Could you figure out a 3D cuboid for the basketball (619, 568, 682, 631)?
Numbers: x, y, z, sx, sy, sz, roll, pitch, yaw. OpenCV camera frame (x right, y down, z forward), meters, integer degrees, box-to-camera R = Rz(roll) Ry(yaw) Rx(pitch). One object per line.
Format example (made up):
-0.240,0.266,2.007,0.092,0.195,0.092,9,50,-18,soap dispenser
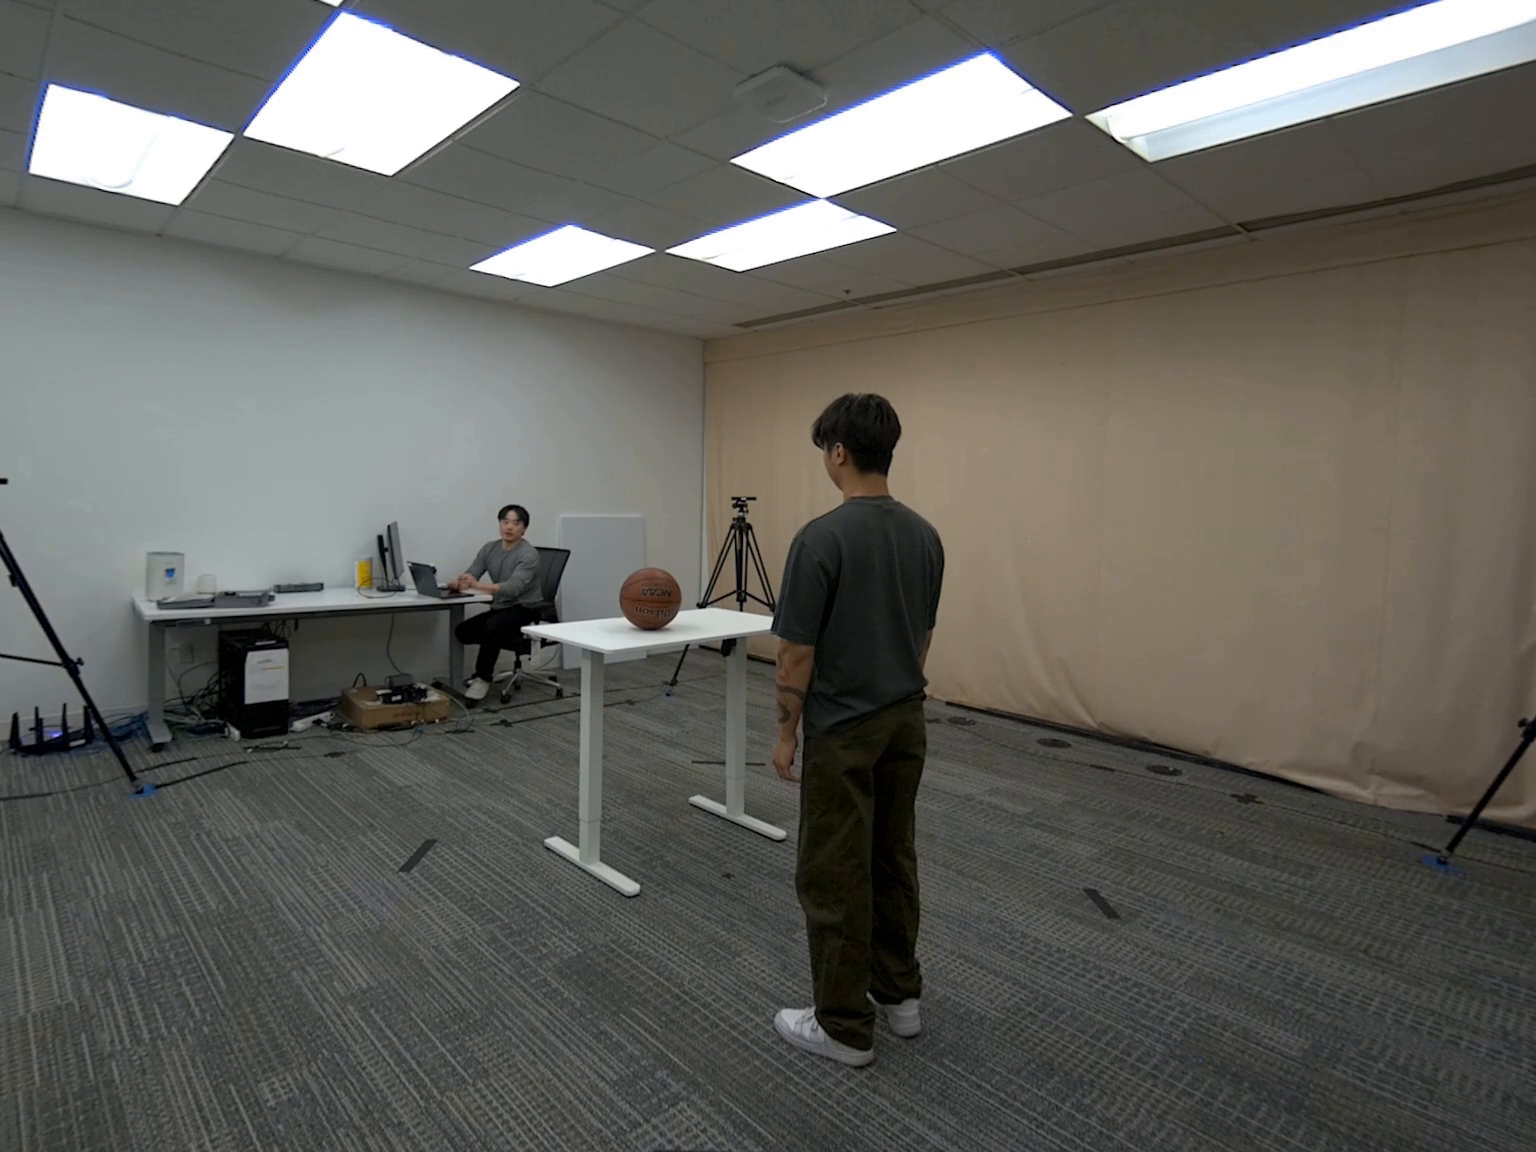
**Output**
-0.457,0.087,3.245,0.236,0.235,0.237,1,4,-1,basketball
